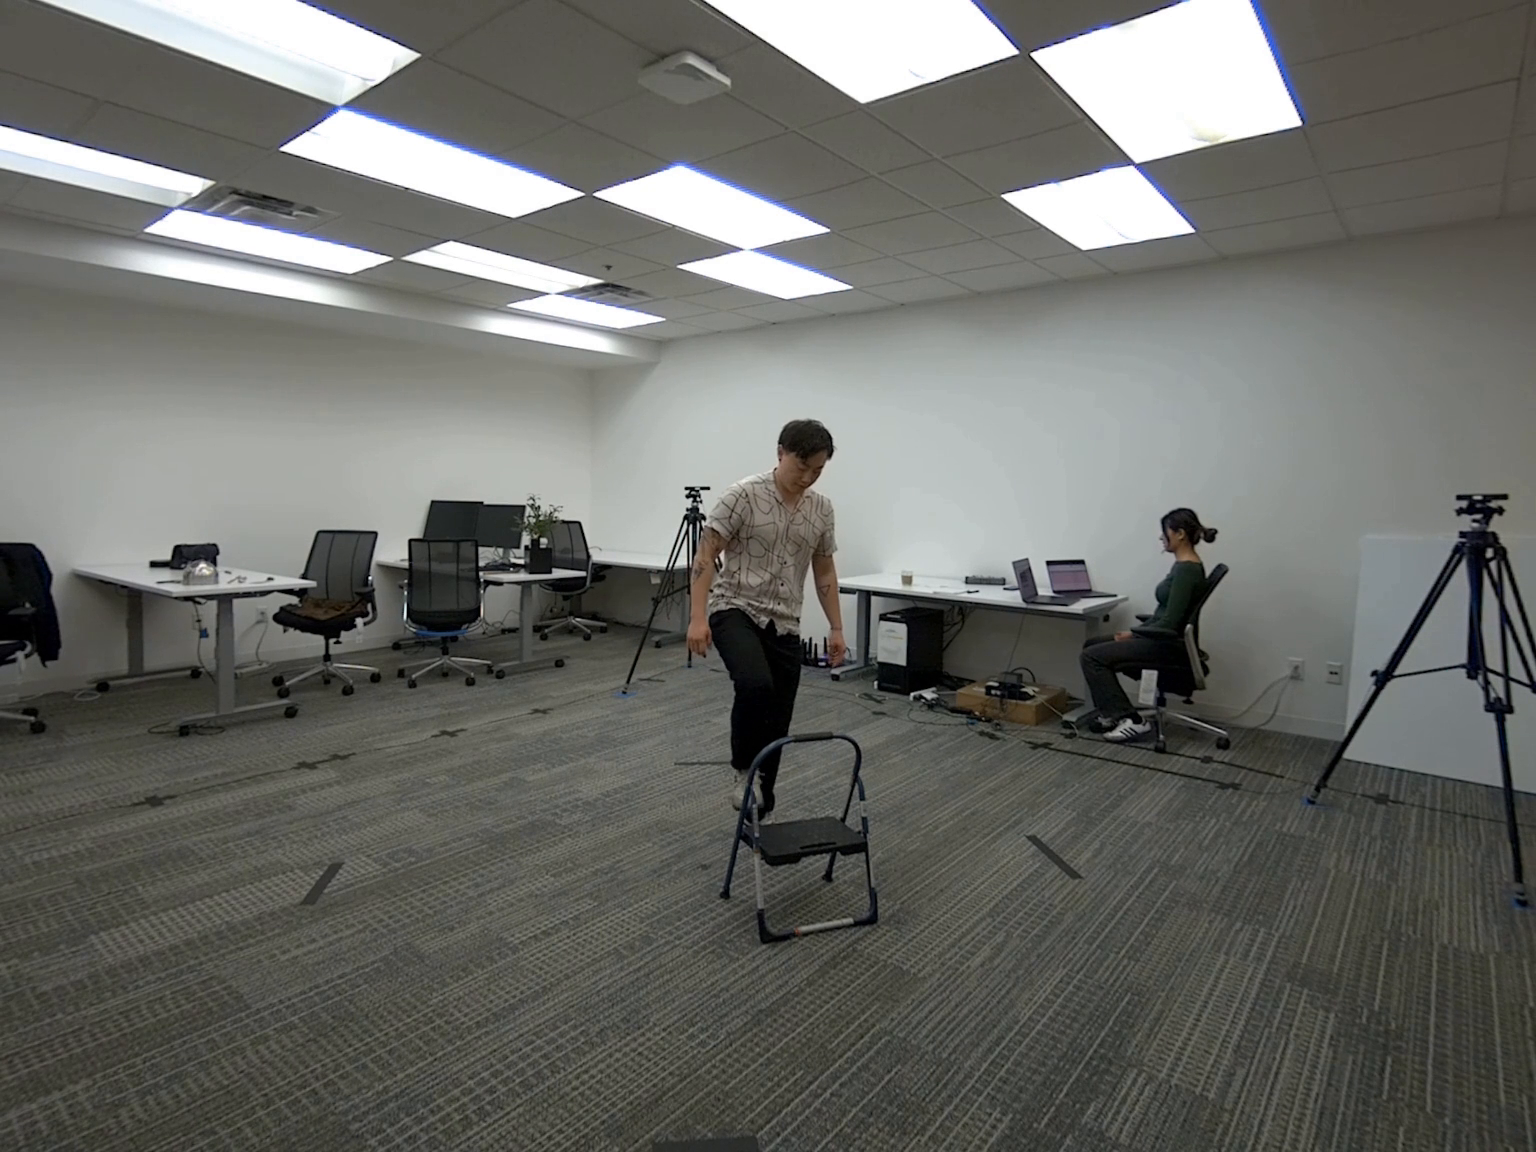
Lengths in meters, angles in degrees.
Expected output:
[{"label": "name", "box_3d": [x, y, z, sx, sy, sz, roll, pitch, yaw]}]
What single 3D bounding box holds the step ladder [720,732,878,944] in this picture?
[{"label": "step ladder", "box_3d": [0.098, 0.799, 2.805, 0.421, 0.604, 0.358, -1, 4, -24]}]
